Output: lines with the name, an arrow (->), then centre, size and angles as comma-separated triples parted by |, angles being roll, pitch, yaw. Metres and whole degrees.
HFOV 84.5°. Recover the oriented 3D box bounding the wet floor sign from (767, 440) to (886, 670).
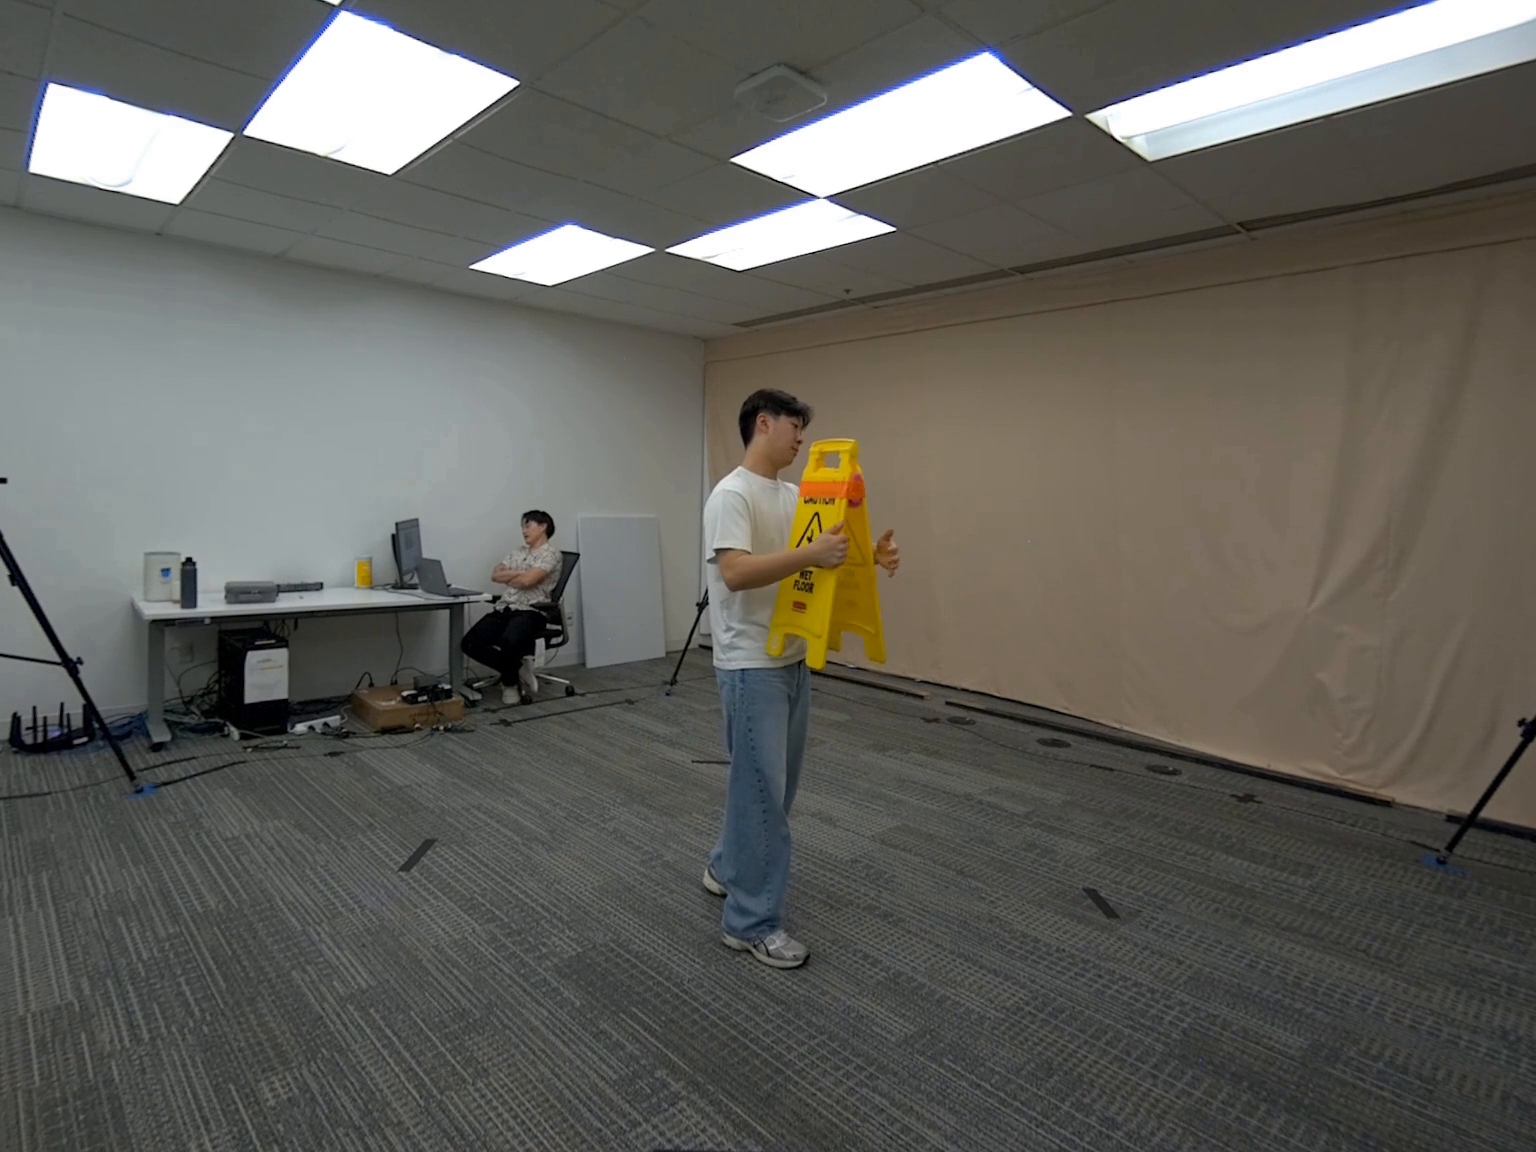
wet floor sign -> 0.178, -0.075, 2.490 | 0.283, 0.644, 0.289 | 0, 4, -33
